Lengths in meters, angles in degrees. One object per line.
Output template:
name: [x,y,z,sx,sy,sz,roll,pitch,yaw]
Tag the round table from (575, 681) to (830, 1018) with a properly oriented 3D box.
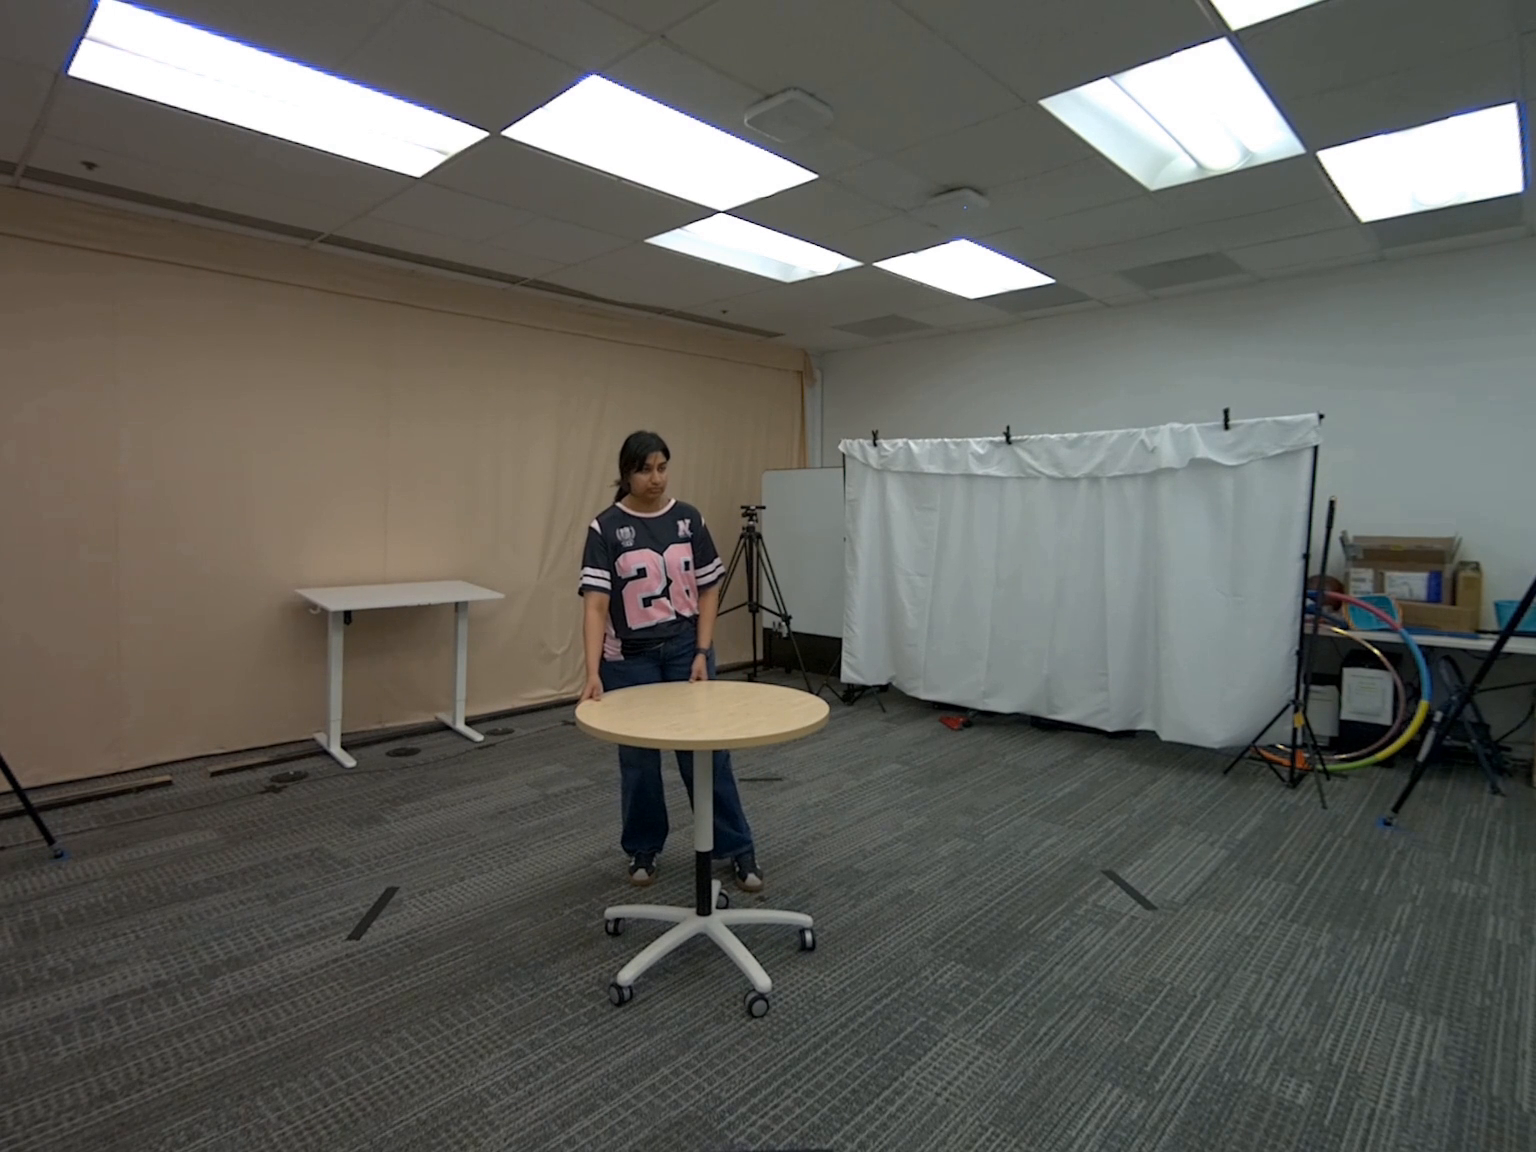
round table: [-0.194,0.789,2.576,0.763,0.792,0.766,0,3,-2]
